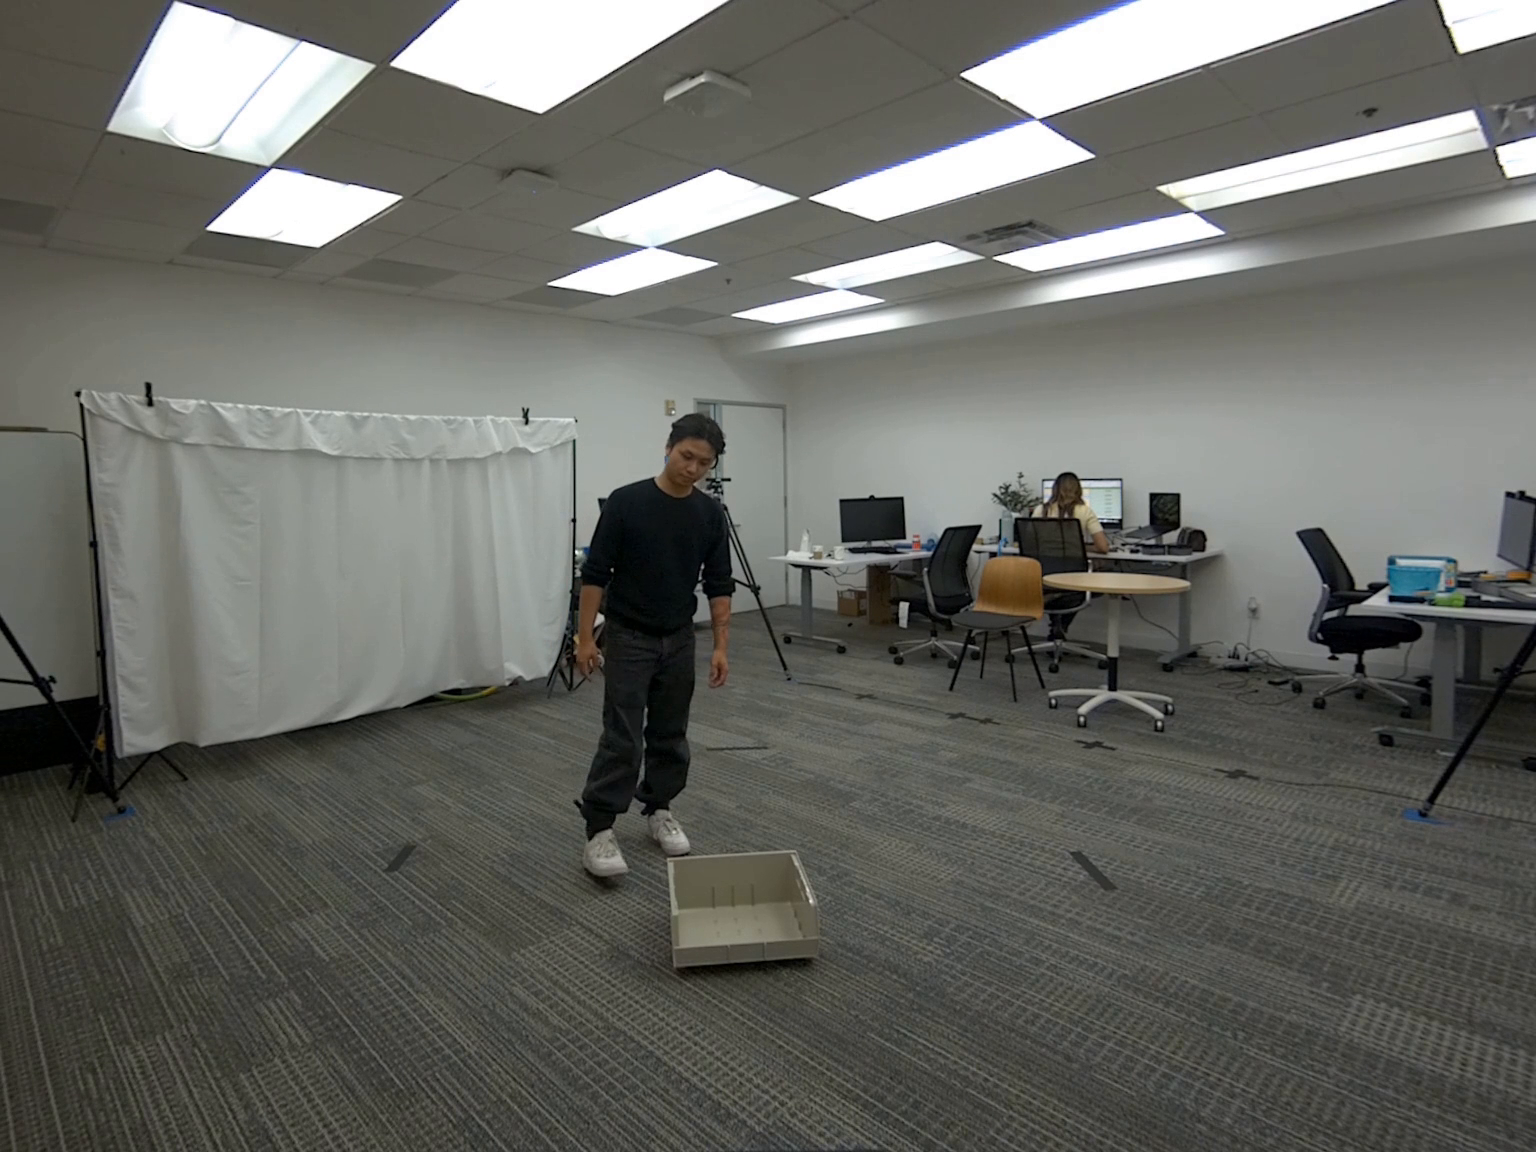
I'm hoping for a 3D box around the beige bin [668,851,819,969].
[{"bbox_3d":[-0.083,1.037,2.575,0.420,0.188,0.381,-2,5,-6],"label":"beige bin"}]
